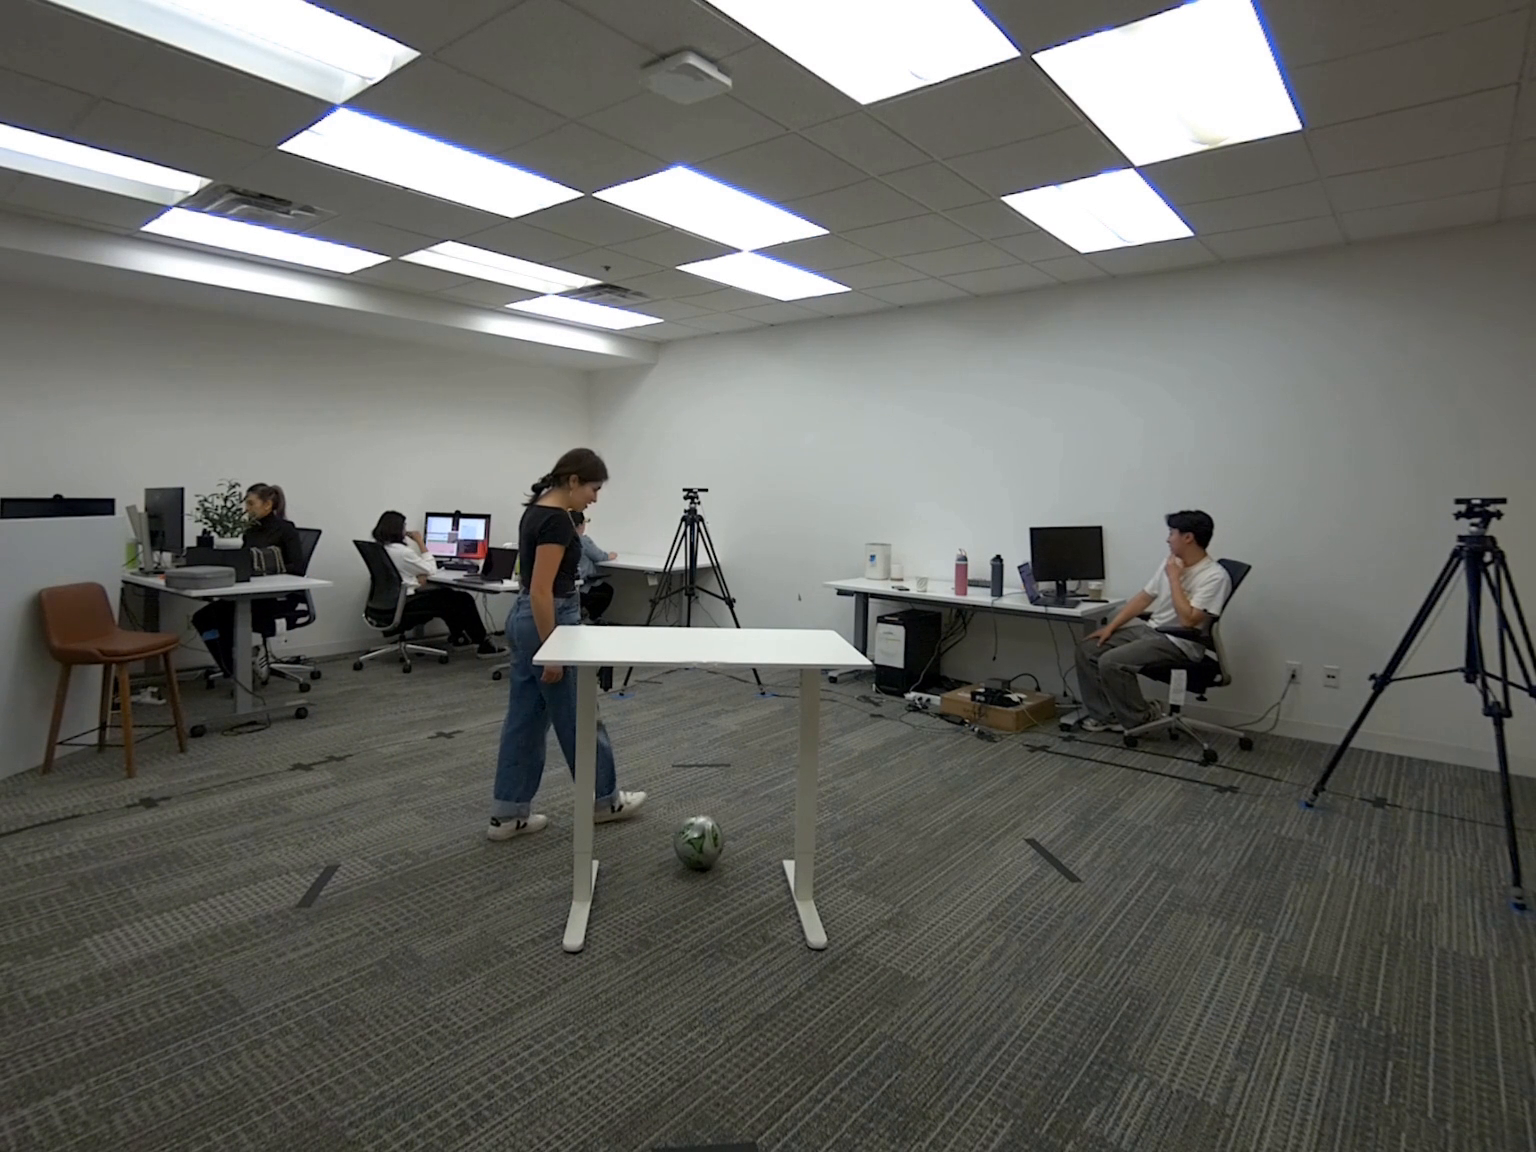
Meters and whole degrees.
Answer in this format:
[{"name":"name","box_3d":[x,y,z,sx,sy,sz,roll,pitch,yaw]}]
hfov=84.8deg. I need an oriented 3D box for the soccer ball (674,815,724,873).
[{"name":"soccer ball","box_3d":[-0.253,0.971,3.132,0.187,0.187,0.188,1,4,-2]}]
